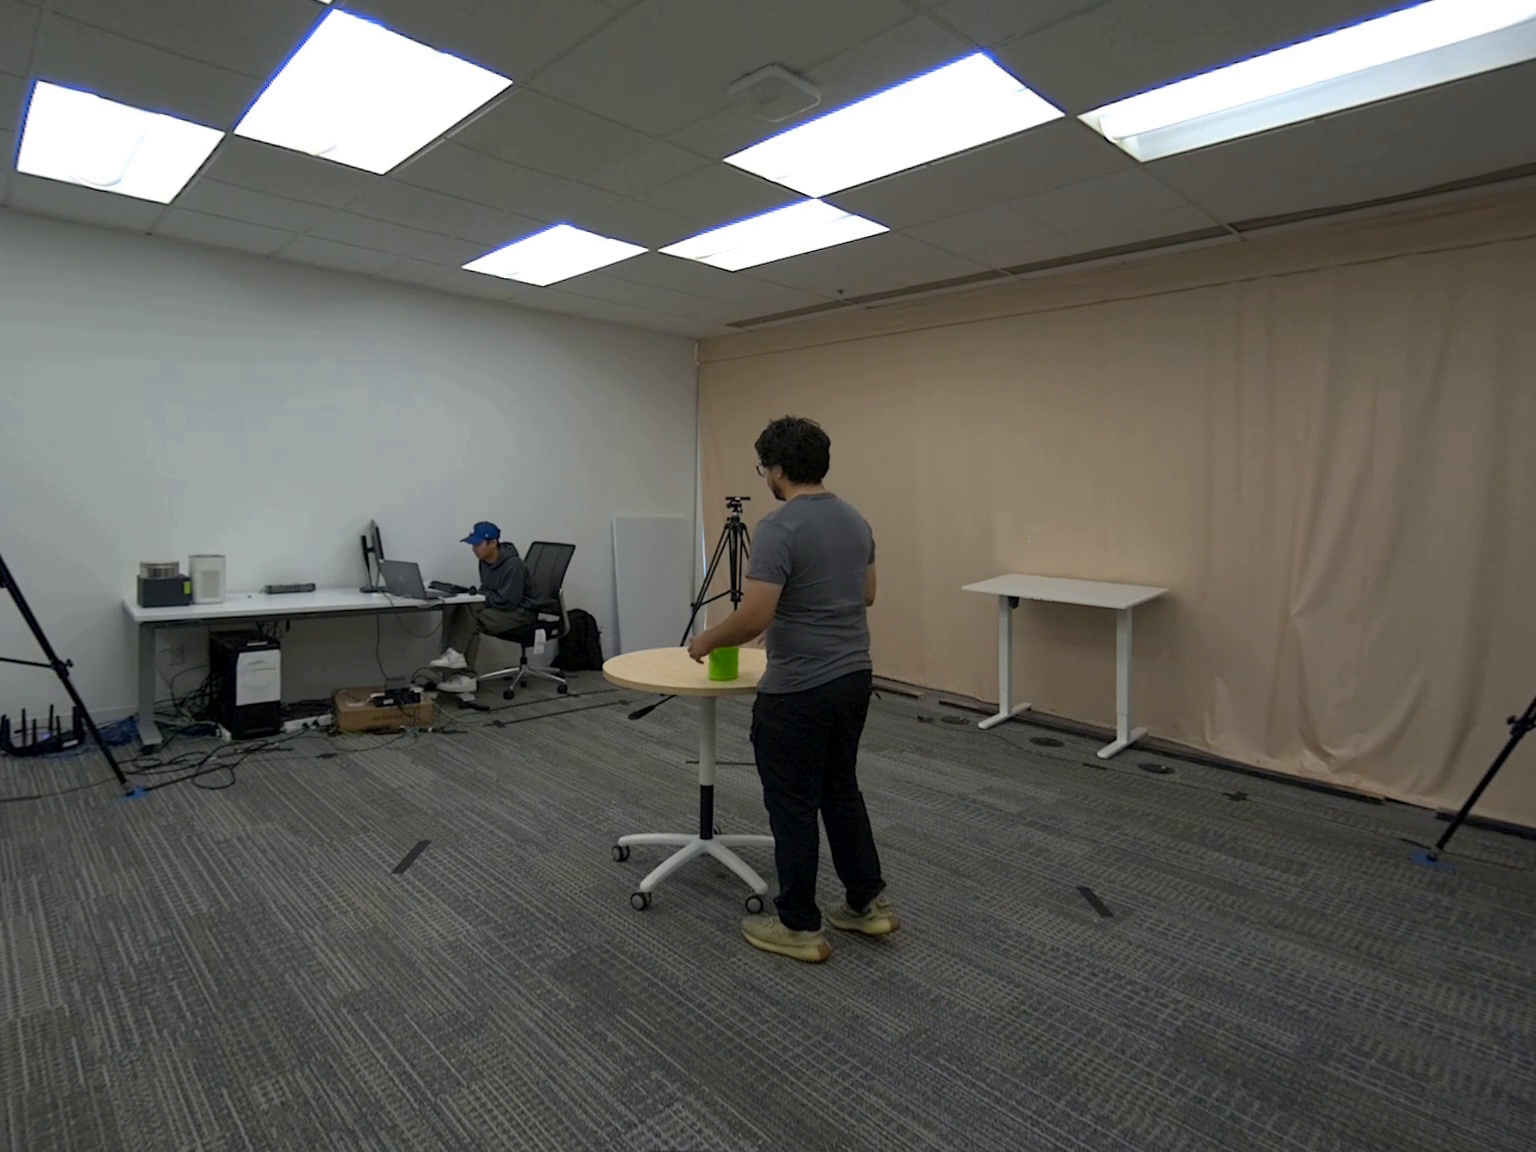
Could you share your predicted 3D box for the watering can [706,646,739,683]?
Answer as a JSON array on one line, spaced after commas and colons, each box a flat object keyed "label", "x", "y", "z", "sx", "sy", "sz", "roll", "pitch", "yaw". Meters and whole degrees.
[{"label": "watering can", "x": -0.127, "y": 0.258, "z": 2.880, "sx": 0.100, "sy": 0.176, "sz": 0.272, "roll": 5, "pitch": 7, "yaw": 37}]
